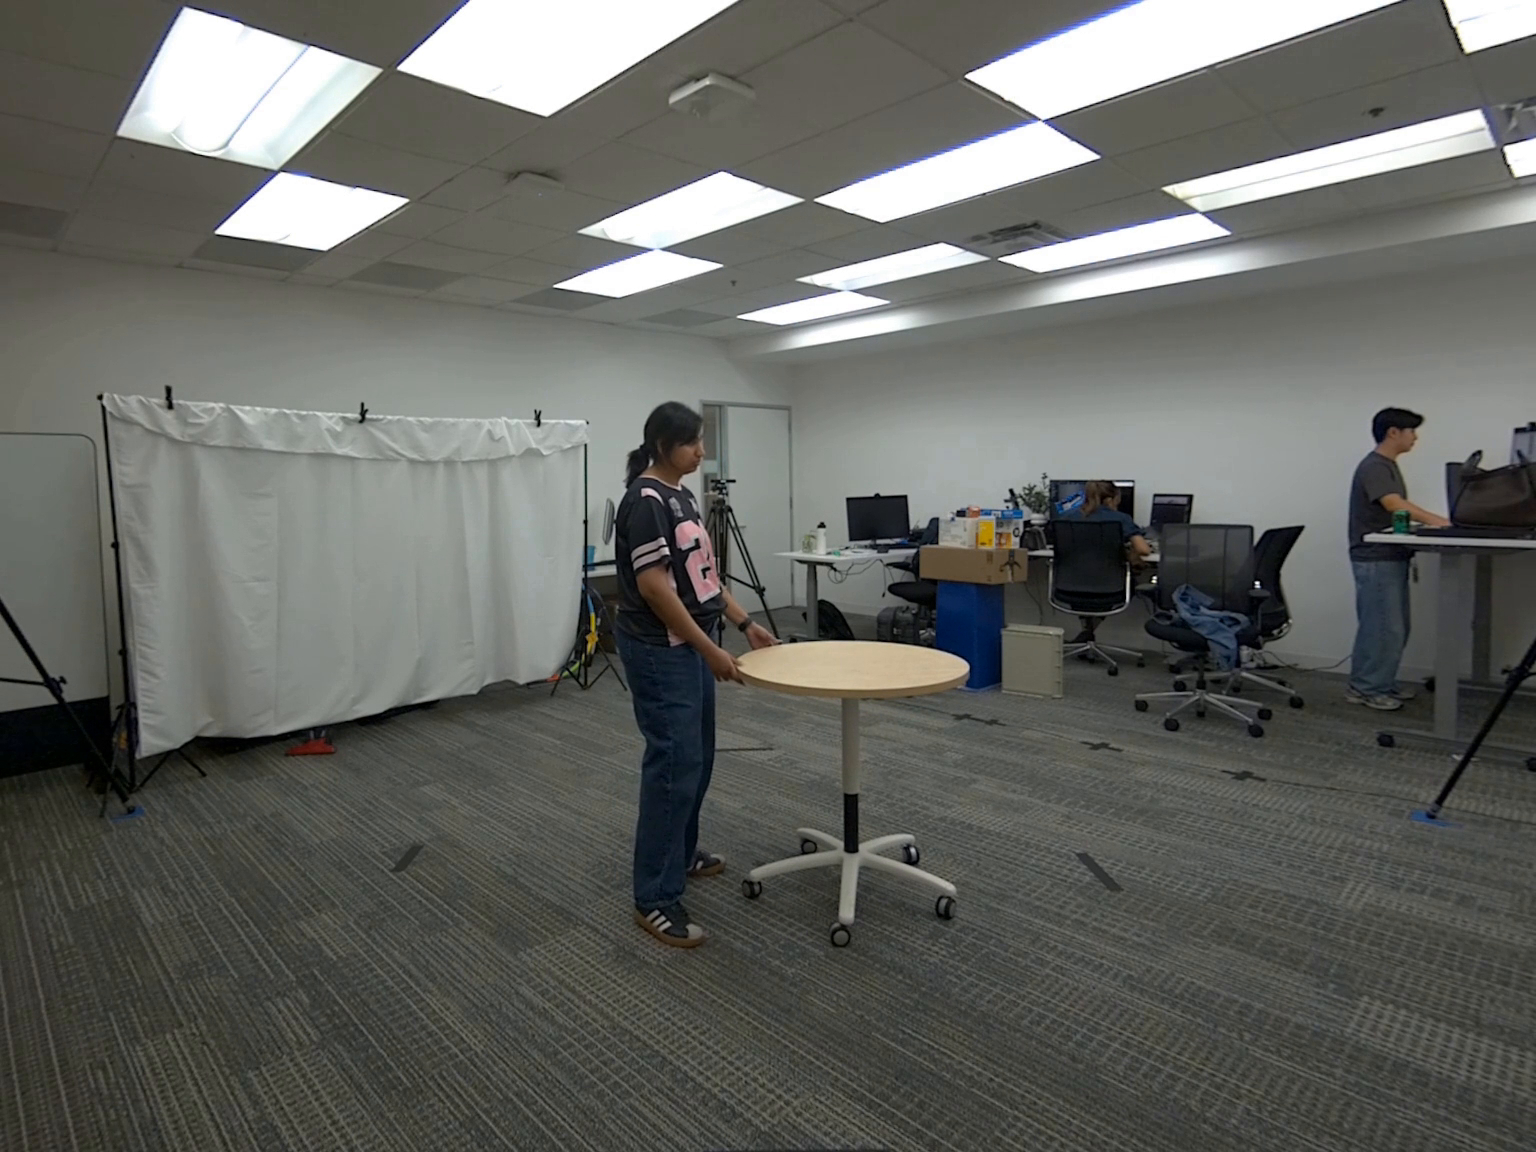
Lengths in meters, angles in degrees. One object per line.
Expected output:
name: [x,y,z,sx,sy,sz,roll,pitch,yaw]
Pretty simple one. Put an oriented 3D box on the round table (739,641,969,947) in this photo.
round table: [0.276,0.676,2.867,0.763,0.791,0.768,-1,5,-2]
